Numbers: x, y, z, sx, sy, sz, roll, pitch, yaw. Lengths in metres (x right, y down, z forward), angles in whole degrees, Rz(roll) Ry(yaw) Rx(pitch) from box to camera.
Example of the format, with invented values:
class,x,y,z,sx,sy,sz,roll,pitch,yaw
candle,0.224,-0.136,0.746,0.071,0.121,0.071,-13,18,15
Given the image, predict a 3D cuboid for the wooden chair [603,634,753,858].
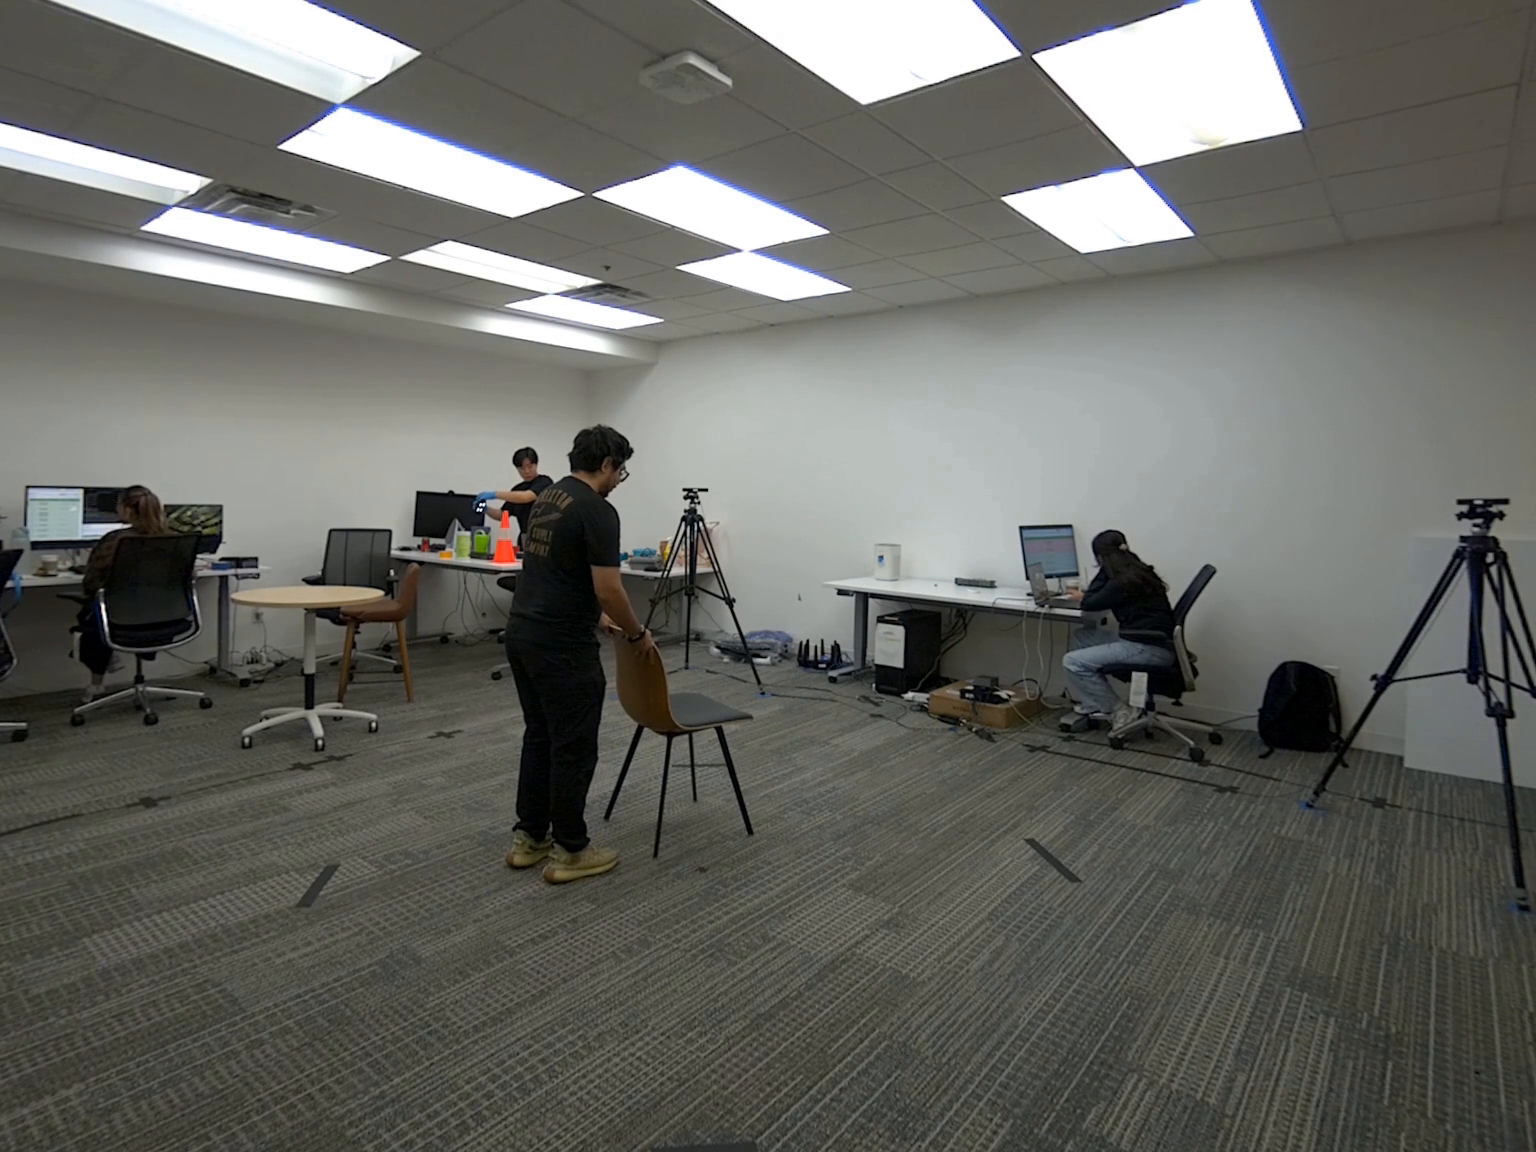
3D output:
class,x,y,z,sx,sy,sz,roll,pitch,yaw
wooden chair,-0.372,0.604,3.477,0.509,0.873,0.493,-6,6,-35
